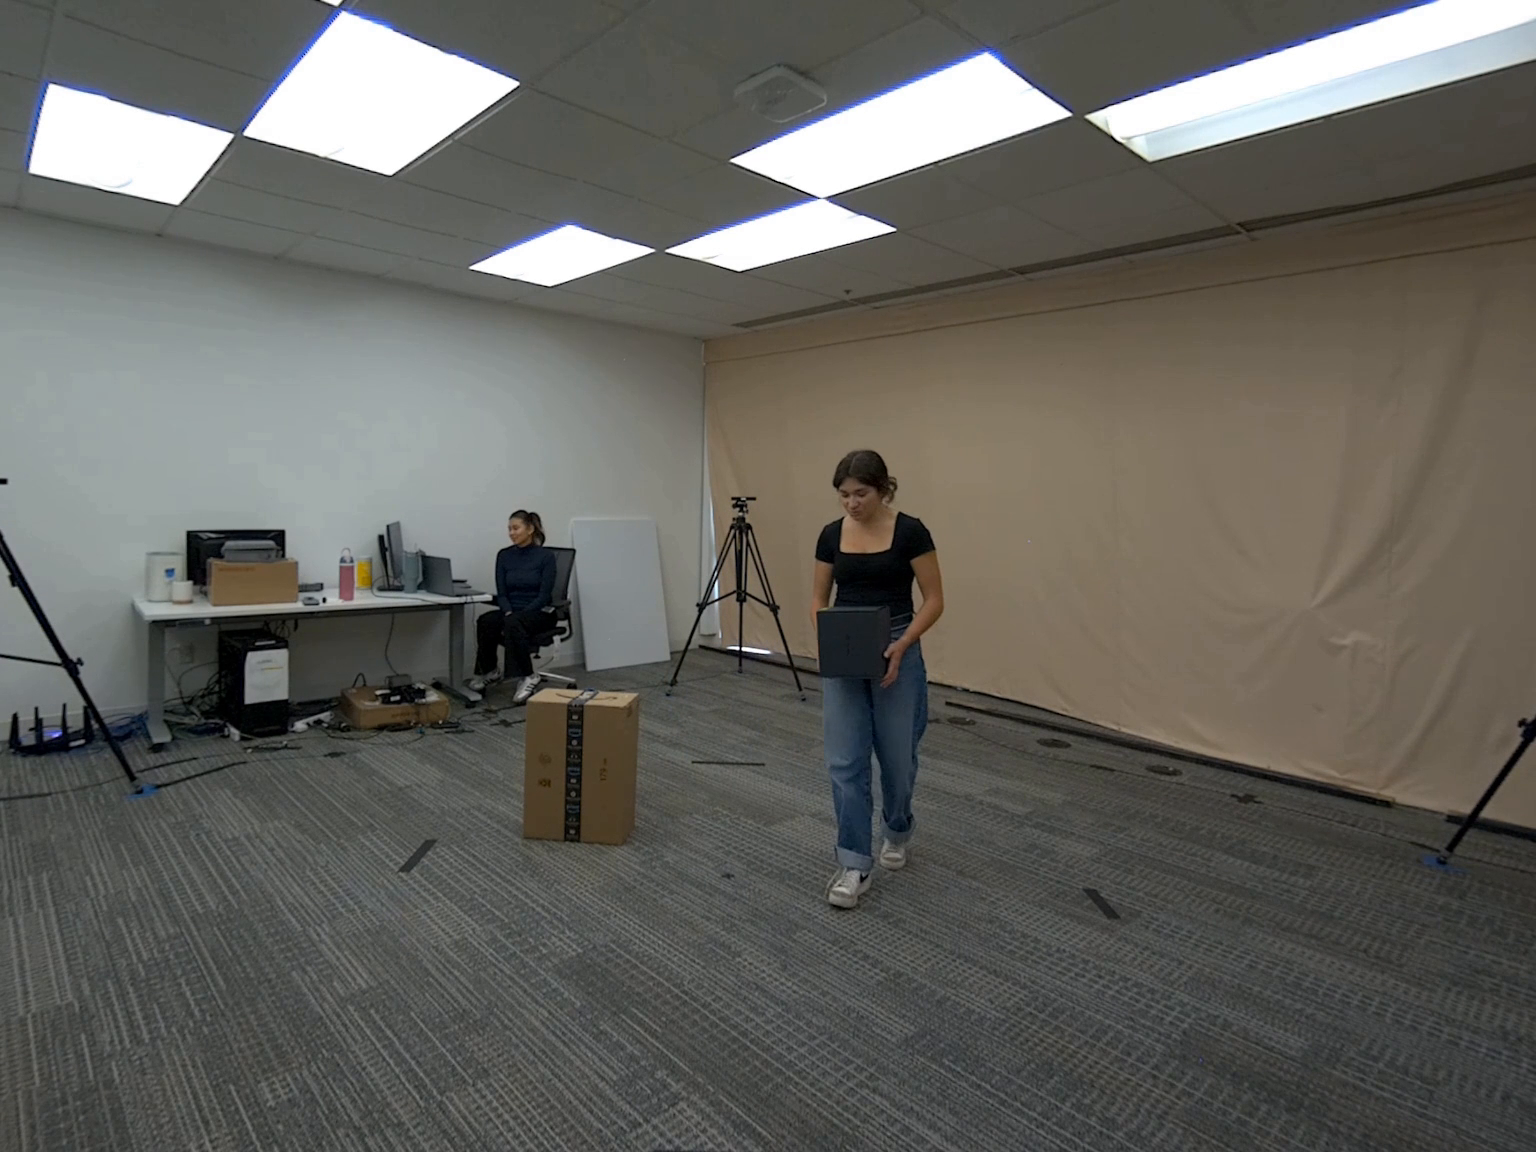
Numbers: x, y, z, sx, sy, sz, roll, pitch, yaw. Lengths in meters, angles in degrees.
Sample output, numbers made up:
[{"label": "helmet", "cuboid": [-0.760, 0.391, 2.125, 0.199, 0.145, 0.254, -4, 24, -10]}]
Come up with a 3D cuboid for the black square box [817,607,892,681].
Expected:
[{"label": "black square box", "cuboid": [0.286, 0.219, 2.874, 0.221, 0.227, 0.153, -3, 3, 24]}]
